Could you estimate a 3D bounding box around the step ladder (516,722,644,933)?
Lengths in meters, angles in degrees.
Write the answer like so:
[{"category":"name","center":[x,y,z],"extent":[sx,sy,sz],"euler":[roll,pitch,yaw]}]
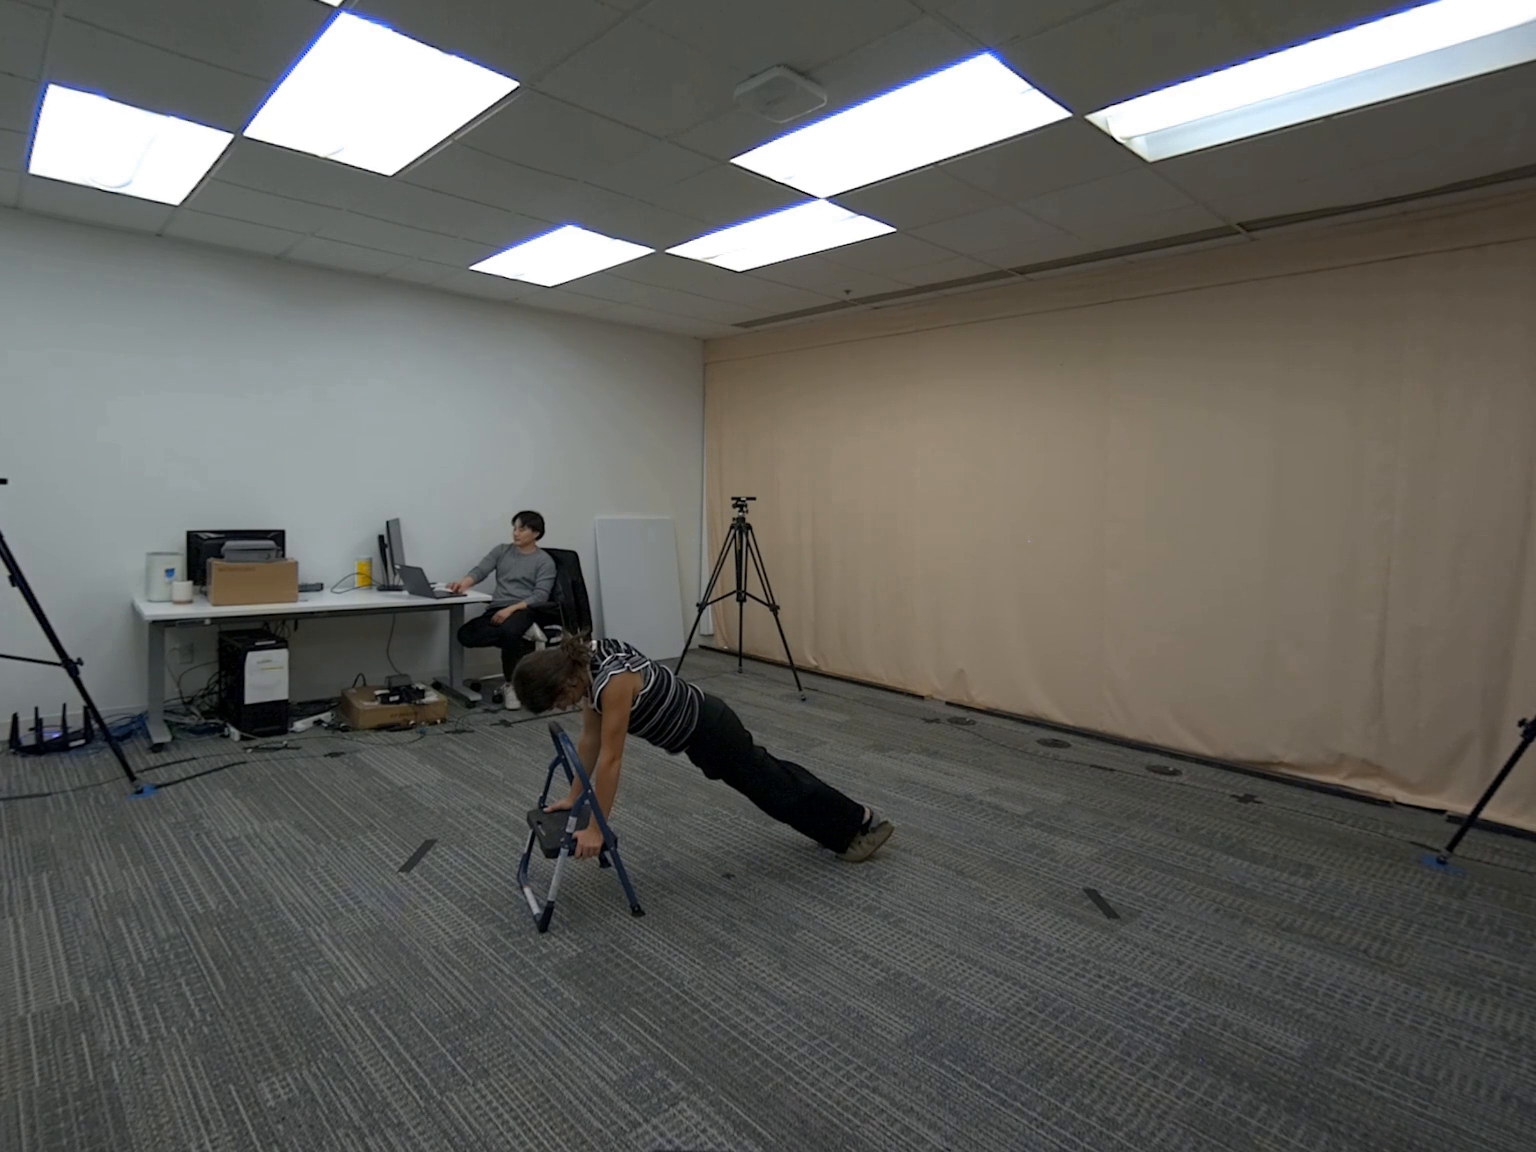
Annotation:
[{"category":"step ladder","center":[-0.663,0.815,2.900],"extent":[0.343,0.604,0.440],"euler":[-1,4,-27]}]
